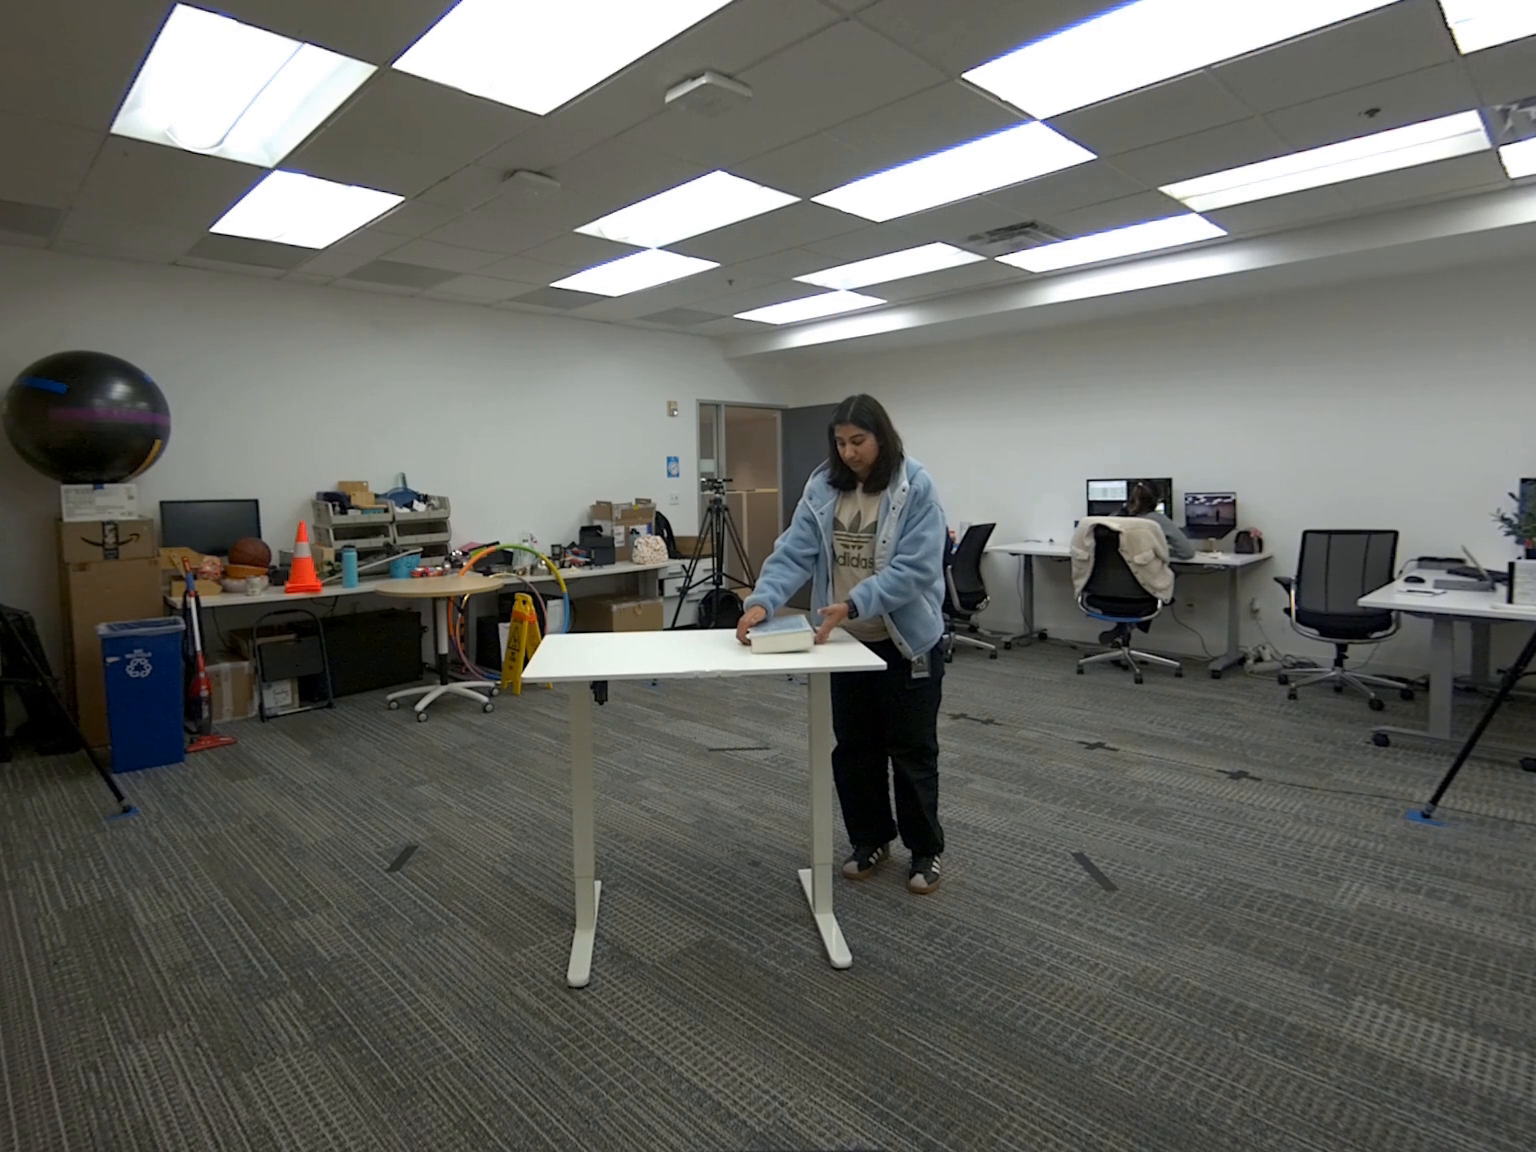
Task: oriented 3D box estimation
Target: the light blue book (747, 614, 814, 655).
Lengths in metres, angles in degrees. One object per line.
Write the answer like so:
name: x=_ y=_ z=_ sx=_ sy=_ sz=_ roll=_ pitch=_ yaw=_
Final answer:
light blue book: x=0.035 y=0.178 z=2.644 sx=0.192 sy=0.059 sz=0.261 roll=-3 pitch=6 yaw=3
